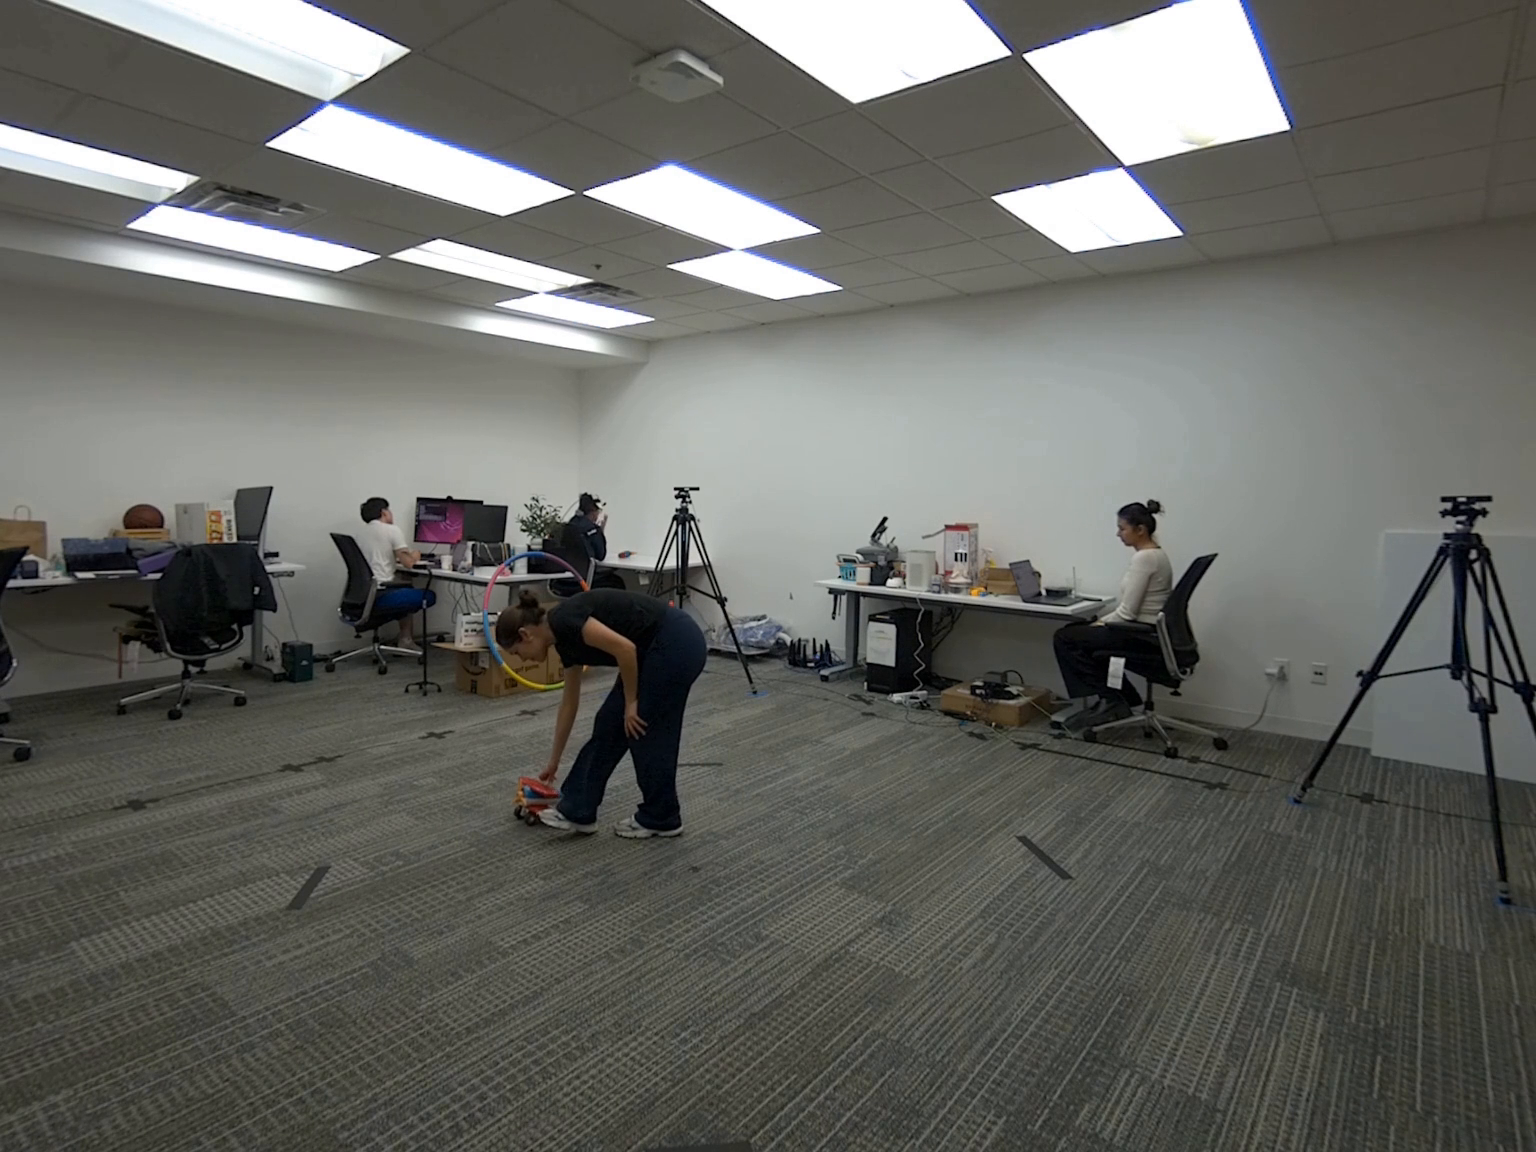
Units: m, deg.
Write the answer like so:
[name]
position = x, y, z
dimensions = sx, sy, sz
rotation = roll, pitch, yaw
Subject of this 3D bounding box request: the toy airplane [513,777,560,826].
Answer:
[toy airplane]
position = -0.939, 0.933, 3.605
dimensions = 0.257, 0.156, 0.254
rotation = 1, 5, 23
